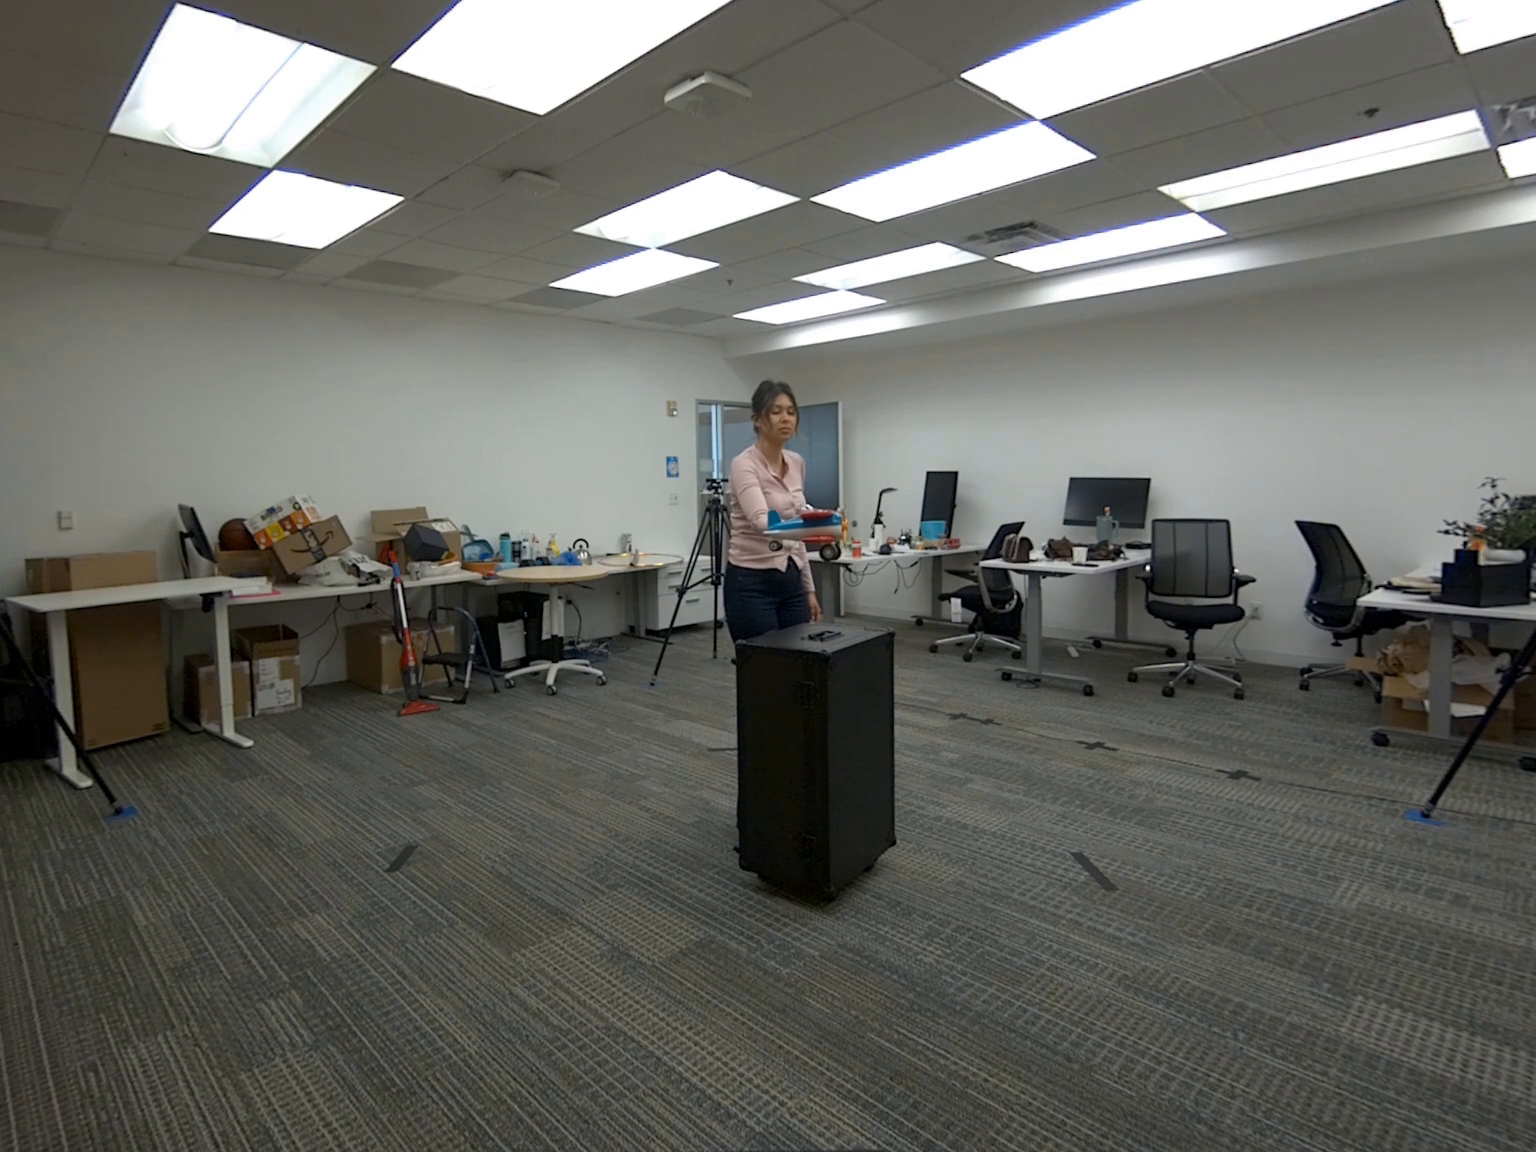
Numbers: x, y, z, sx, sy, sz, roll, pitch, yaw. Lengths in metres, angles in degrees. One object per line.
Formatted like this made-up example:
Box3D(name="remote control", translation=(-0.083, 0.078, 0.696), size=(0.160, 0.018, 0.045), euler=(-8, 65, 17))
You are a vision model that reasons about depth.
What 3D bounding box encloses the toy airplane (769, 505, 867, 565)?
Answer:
Box3D(name="toy airplane", translation=(0.122, -0.132, 2.656), size=(0.254, 0.156, 0.256), euler=(5, 1, -20))
